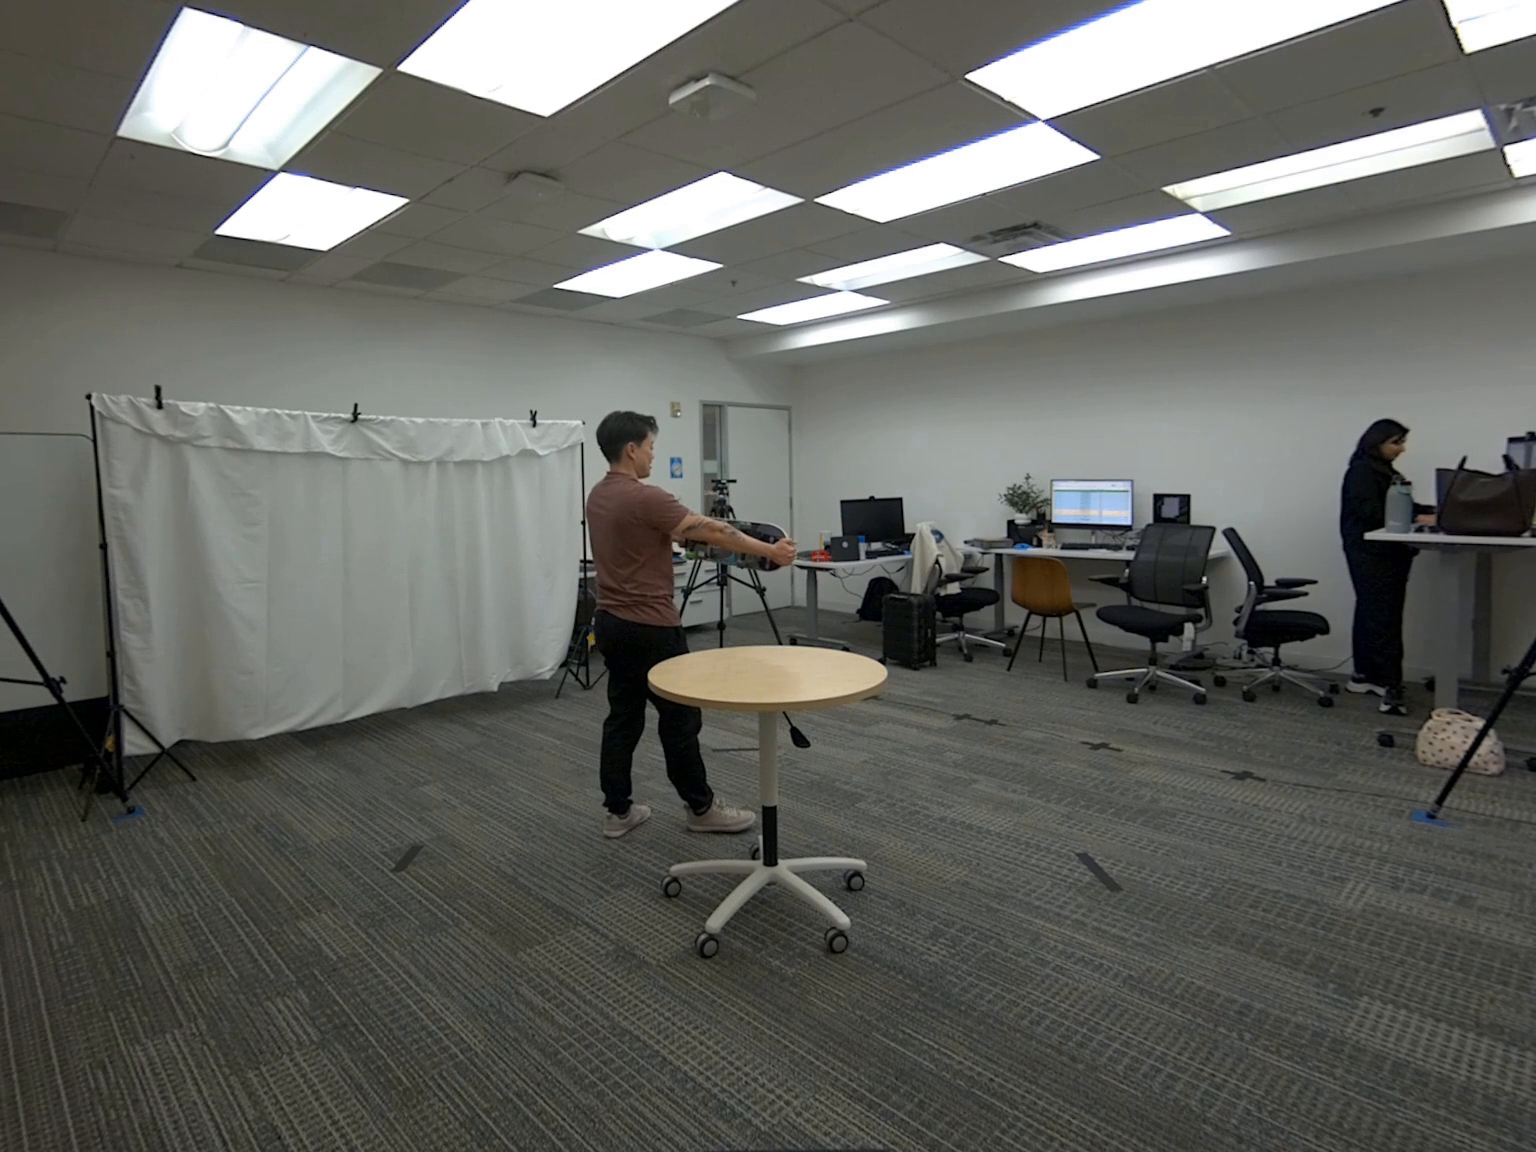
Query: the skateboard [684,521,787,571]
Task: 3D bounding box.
[{"bbox_3d":[-0.188,-0.149,3.627,0.107,0.192,0.810,-4,9,-37],"label":"skateboard"}]
